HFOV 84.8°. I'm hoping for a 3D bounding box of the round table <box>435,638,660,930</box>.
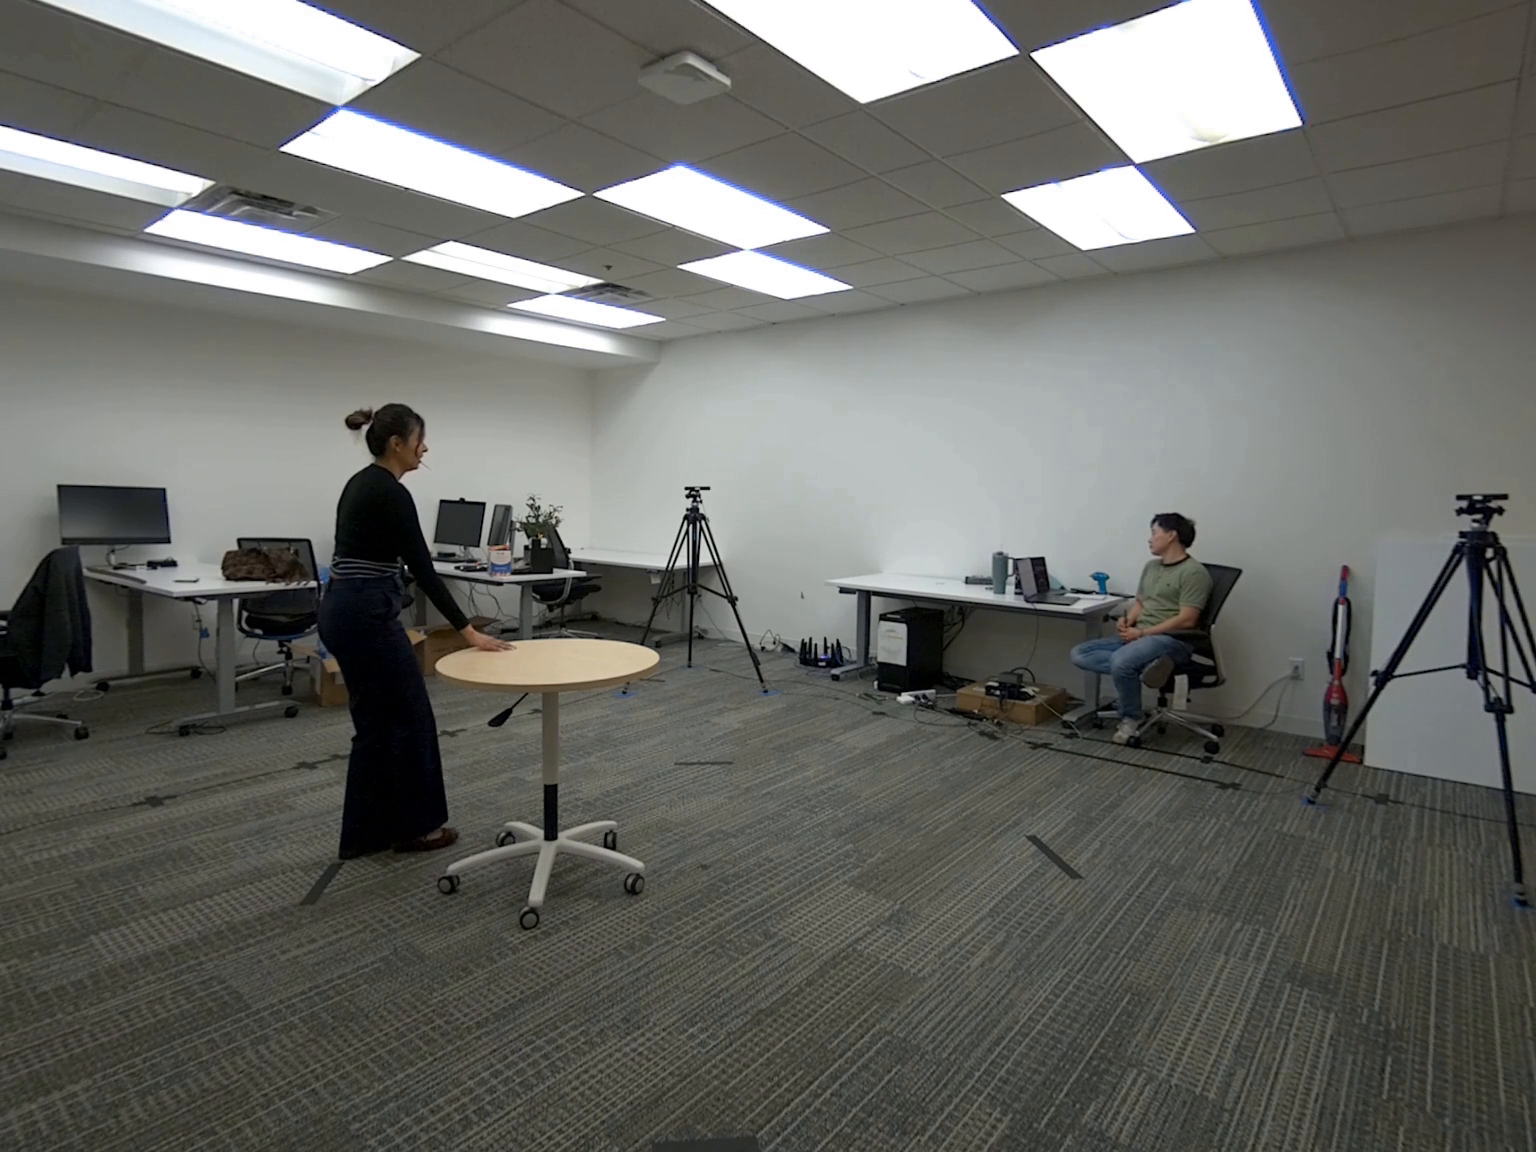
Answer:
[{"bbox_3d":[-0.776,0.681,2.997,0.763,0.791,0.768,0,4,-2],"label":"round table"}]
